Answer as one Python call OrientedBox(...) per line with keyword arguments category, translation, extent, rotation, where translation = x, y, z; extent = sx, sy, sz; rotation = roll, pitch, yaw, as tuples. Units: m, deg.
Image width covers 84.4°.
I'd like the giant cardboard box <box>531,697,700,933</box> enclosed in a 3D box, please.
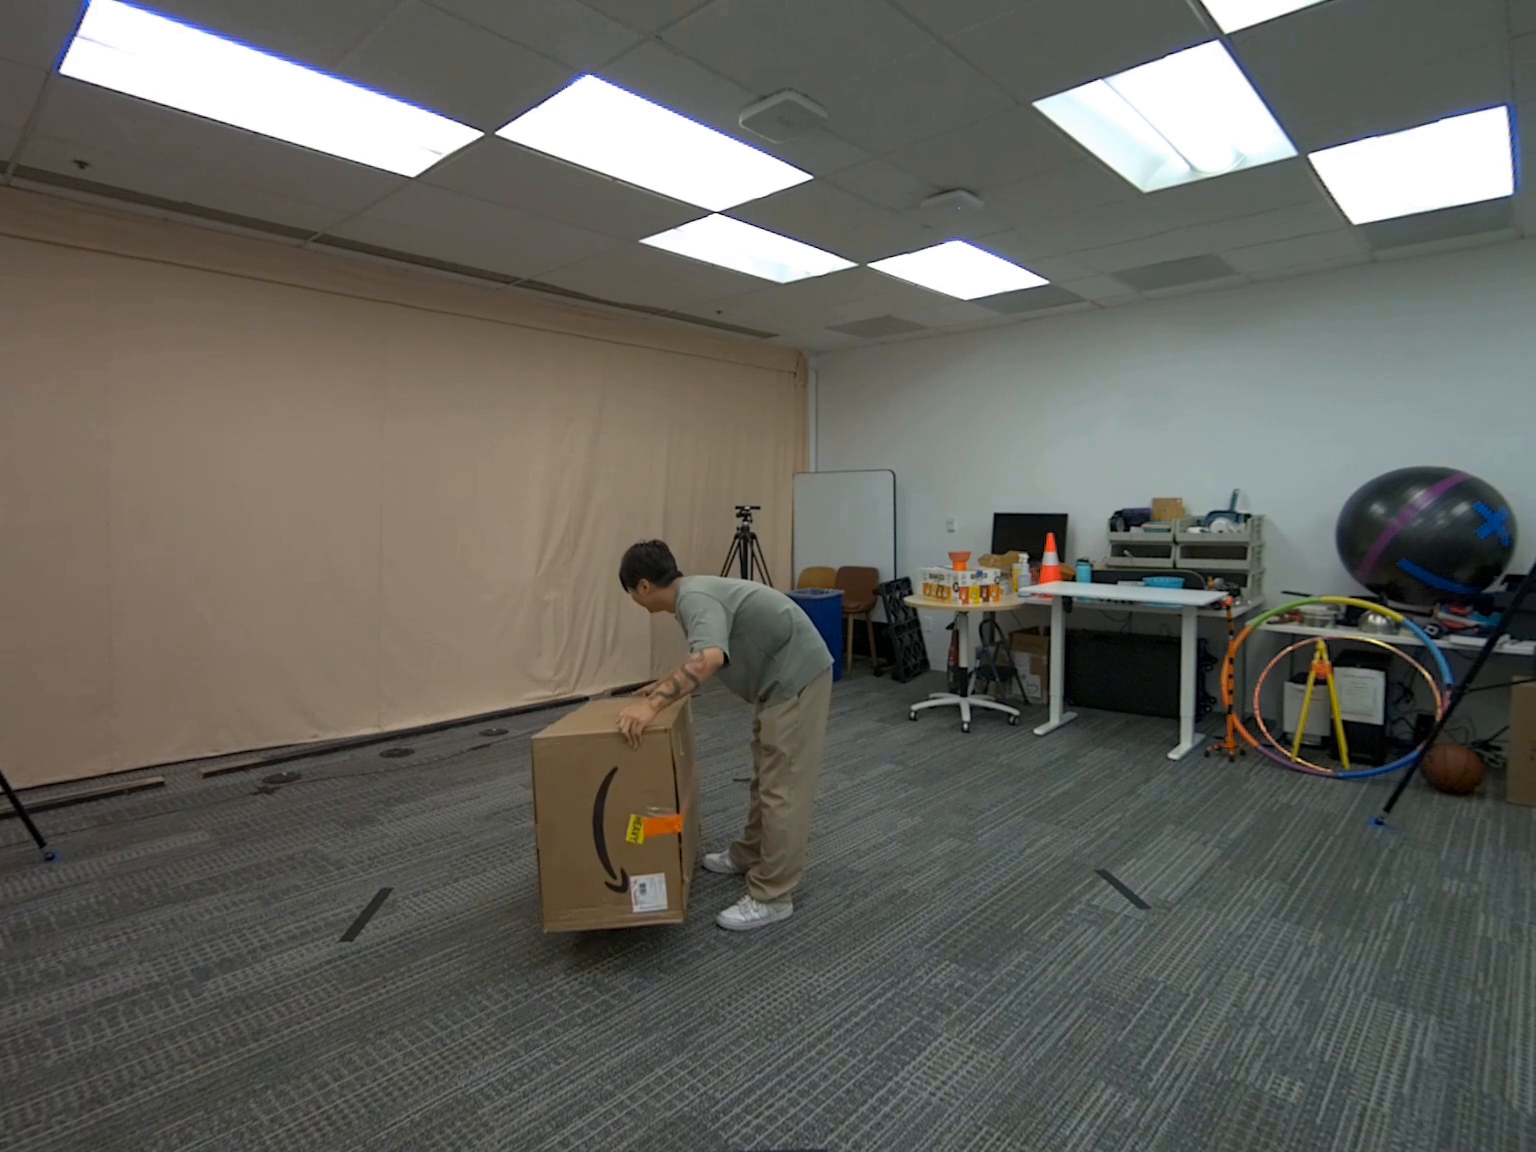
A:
OrientedBox(category="giant cardboard box", translation=(-0.501, 0.762, 2.986), extent=(0.426, 0.579, 1.024), rotation=(-4, -2, -2))
